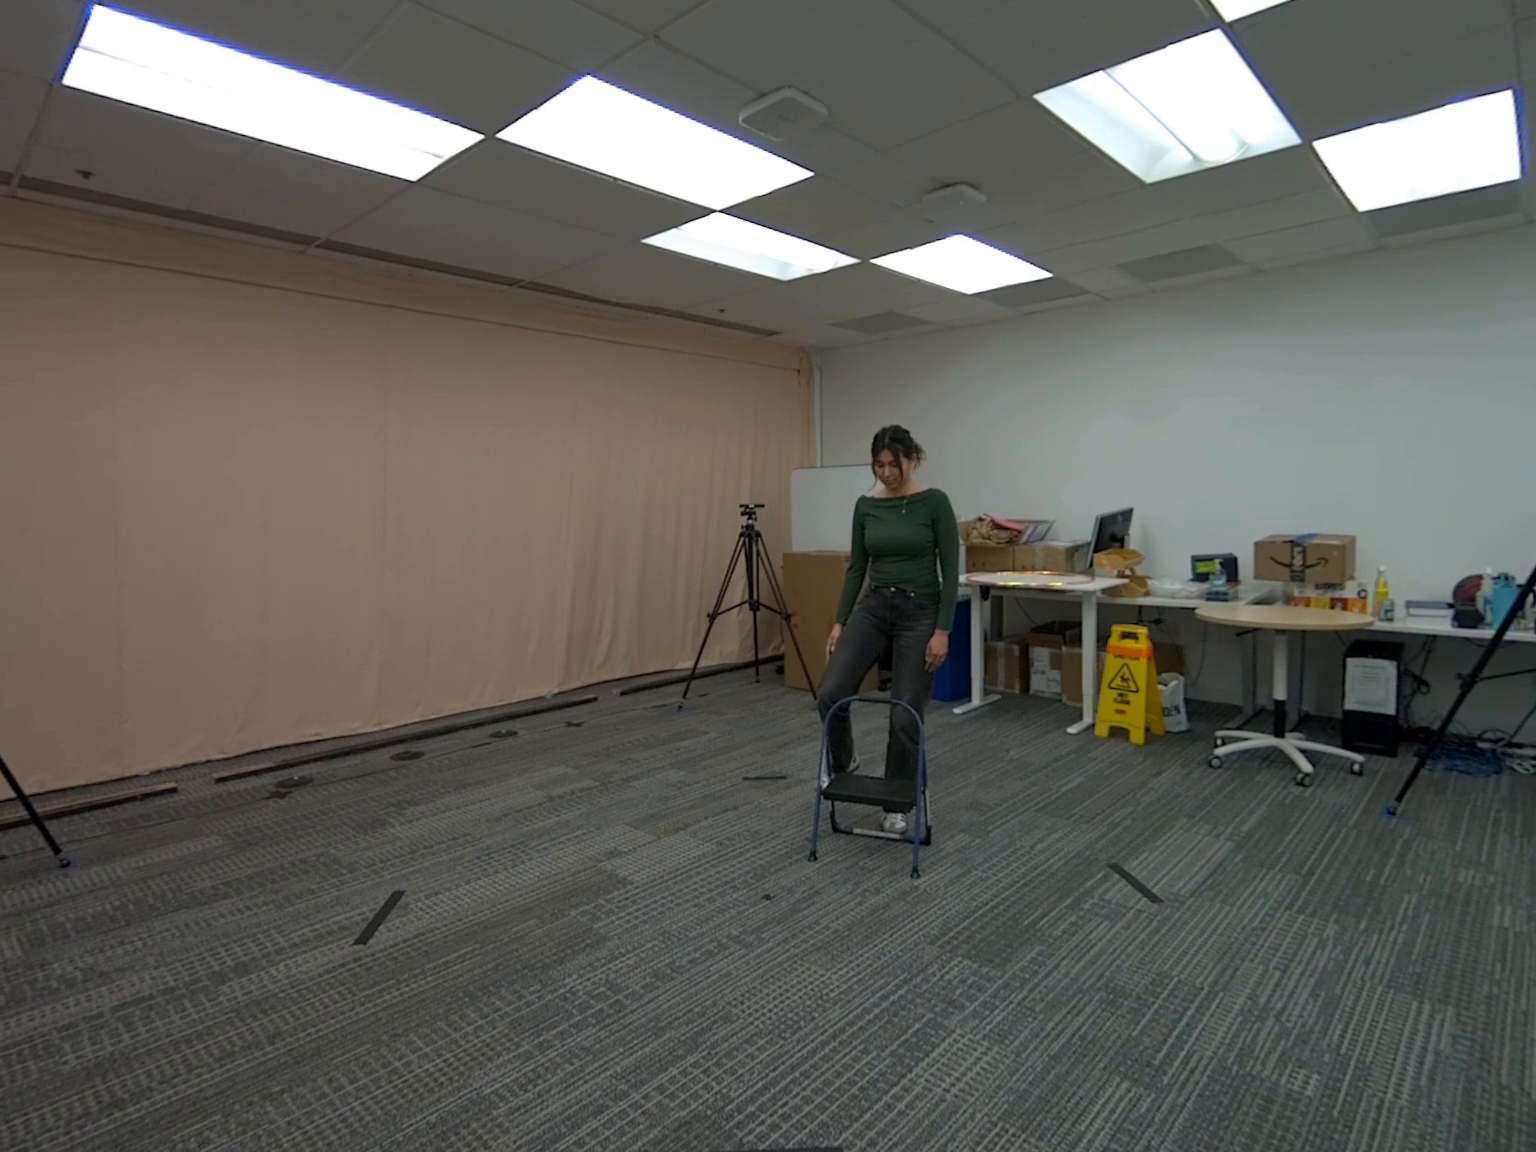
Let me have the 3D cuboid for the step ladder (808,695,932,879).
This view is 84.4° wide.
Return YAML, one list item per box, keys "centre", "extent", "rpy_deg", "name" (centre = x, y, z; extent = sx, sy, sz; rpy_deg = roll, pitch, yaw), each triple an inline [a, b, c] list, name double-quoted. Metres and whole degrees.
- centre: [0.414, 0.800, 3.336]
  extent: [0.440, 0.605, 0.342]
  rpy_deg: [1, 4, 21]
  name: "step ladder"
